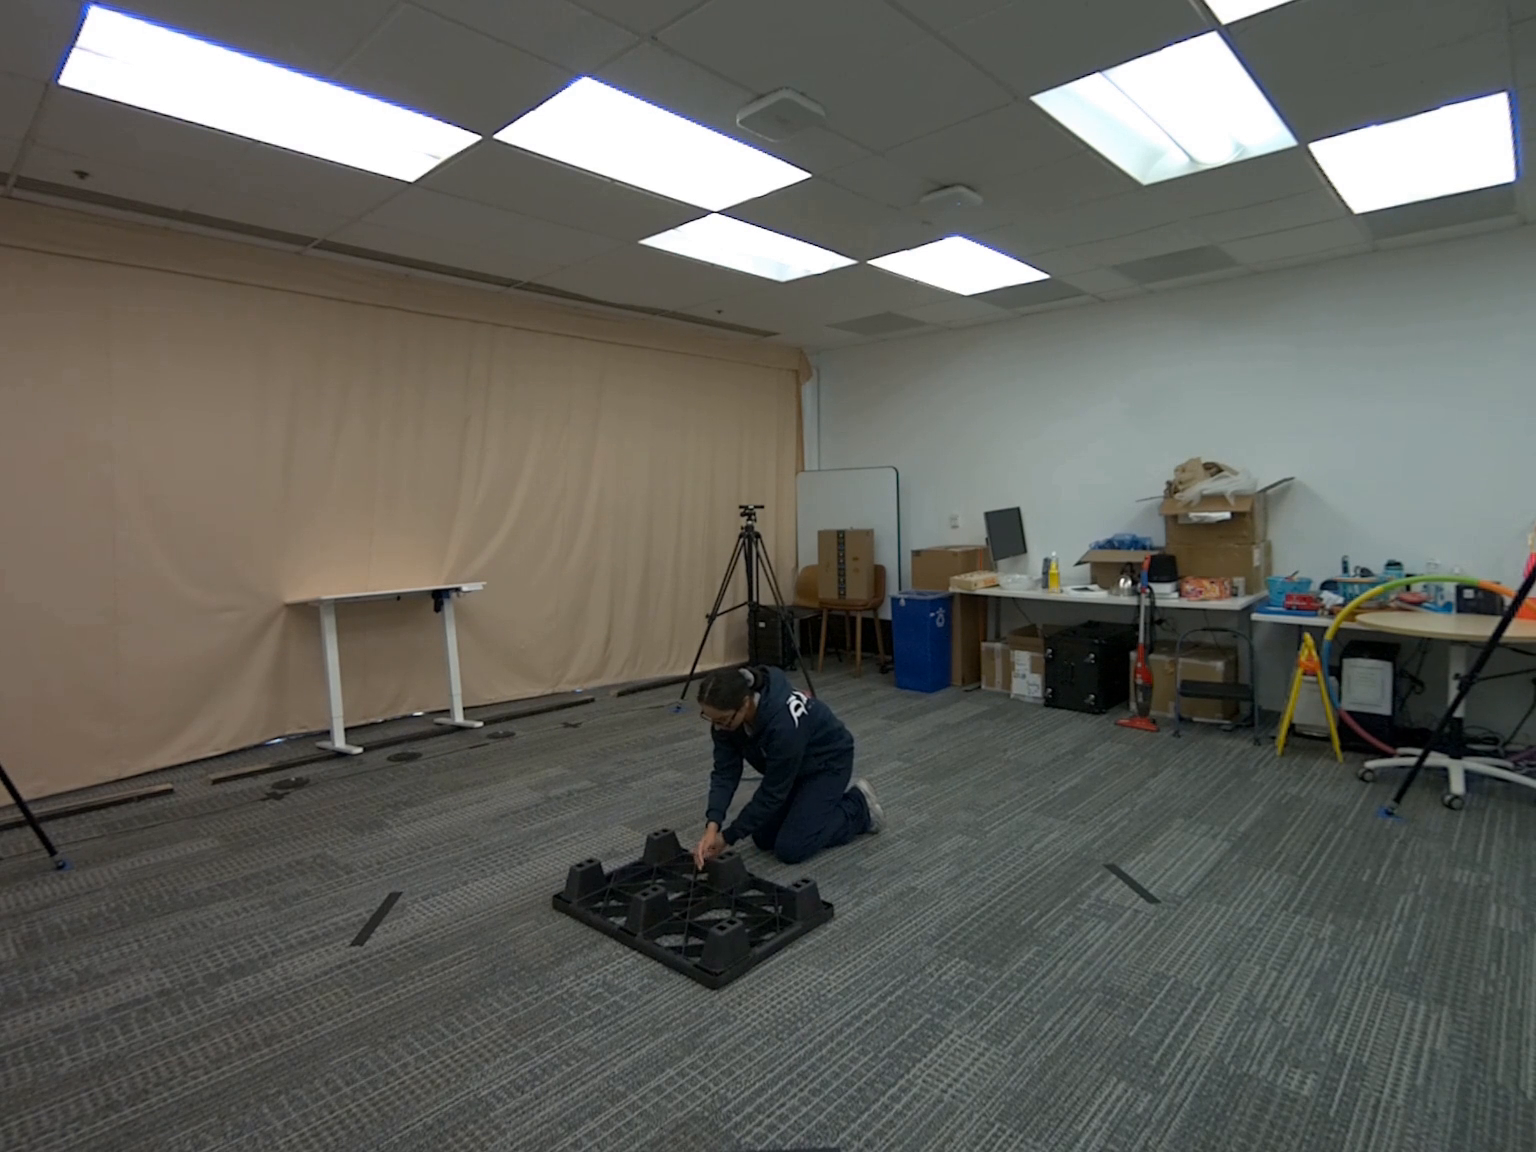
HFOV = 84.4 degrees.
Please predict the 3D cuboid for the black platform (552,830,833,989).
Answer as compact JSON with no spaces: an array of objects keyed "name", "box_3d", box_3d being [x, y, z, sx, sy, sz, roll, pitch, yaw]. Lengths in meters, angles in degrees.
[{"name":"black platform","box_3d":[-0.274,1.090,2.893,0.832,0.143,0.587,3,5,41]}]
